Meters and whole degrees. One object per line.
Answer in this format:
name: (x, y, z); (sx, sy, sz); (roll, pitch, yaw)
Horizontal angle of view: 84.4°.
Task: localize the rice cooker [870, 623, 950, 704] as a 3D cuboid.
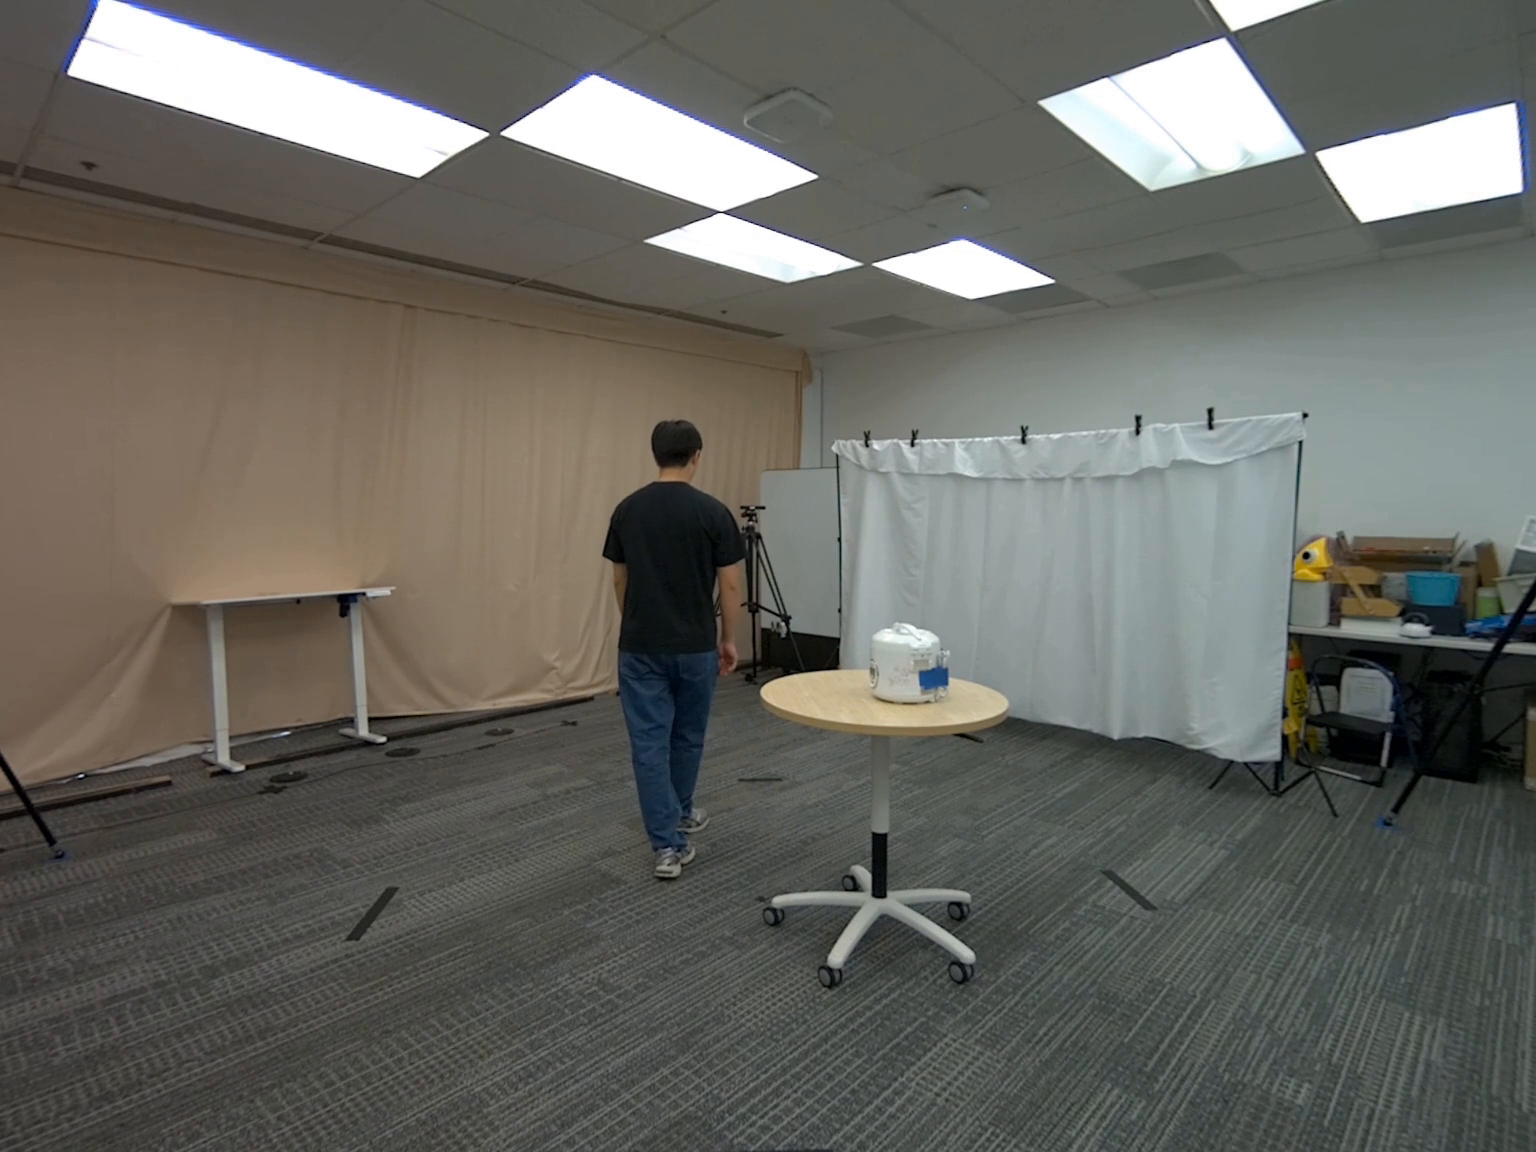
rice cooker: (0.427, 0.262, 2.605); (0.214, 0.232, 0.224); (-1, 4, -15)
